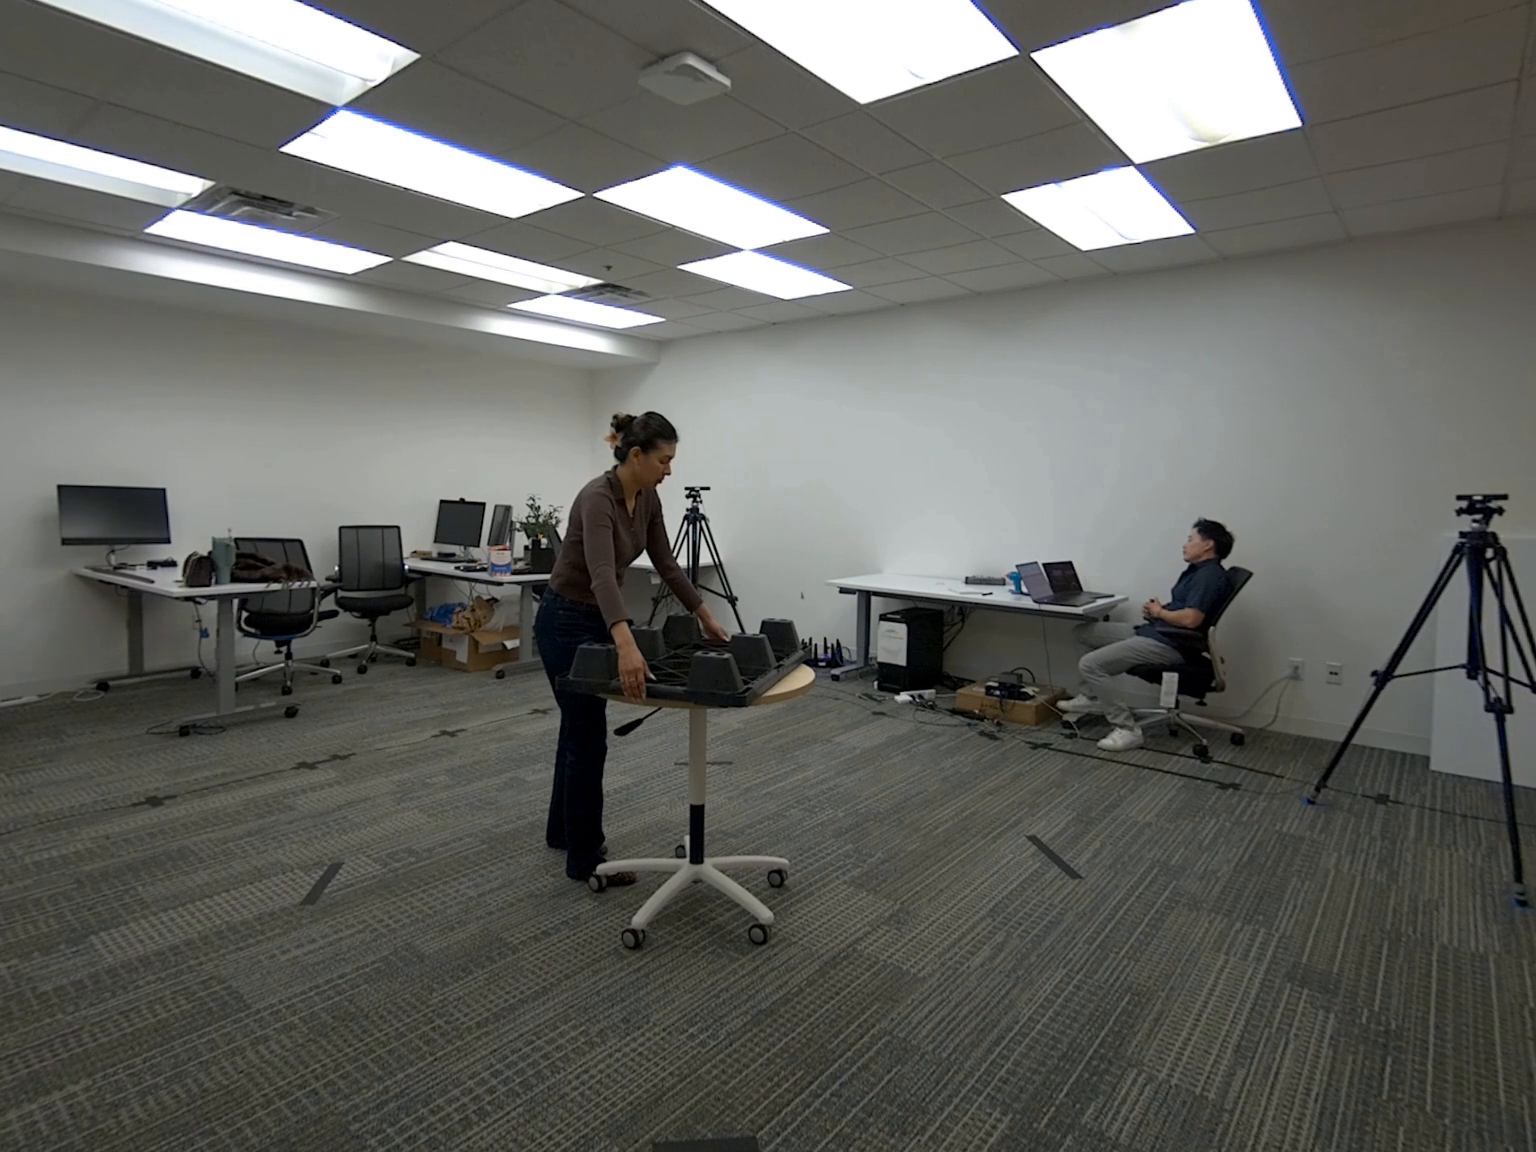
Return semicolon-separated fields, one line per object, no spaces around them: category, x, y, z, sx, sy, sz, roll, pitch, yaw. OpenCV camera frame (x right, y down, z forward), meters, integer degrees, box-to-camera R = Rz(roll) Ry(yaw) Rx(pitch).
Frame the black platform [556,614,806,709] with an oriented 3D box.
black platform;-0.250;0.251;2.805;0.617;0.143;0.793;2;6;18
